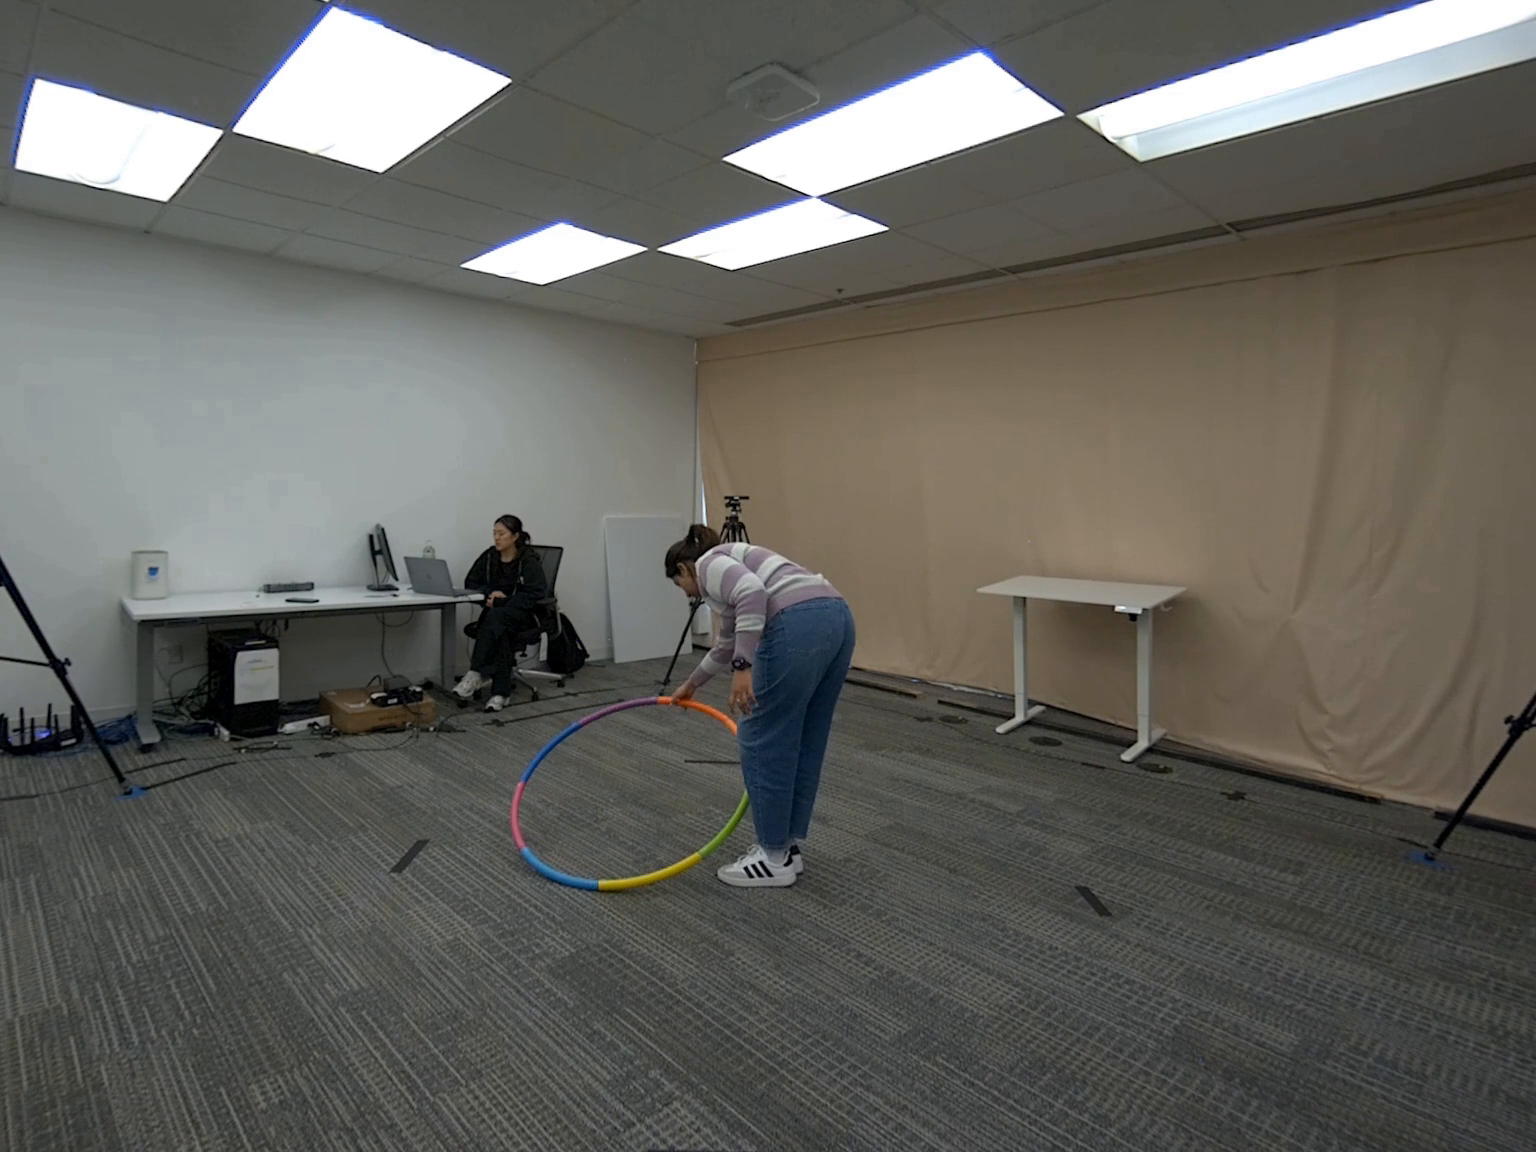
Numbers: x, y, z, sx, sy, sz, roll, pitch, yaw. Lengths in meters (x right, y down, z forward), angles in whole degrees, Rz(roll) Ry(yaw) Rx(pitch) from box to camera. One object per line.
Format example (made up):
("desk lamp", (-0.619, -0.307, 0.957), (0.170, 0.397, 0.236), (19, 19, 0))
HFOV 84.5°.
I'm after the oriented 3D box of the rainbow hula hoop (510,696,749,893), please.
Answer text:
("rainbow hula hoop", (-0.554, 0.830, 3.352), (0.988, 0.050, 1.005), (-8, 32, 3))
